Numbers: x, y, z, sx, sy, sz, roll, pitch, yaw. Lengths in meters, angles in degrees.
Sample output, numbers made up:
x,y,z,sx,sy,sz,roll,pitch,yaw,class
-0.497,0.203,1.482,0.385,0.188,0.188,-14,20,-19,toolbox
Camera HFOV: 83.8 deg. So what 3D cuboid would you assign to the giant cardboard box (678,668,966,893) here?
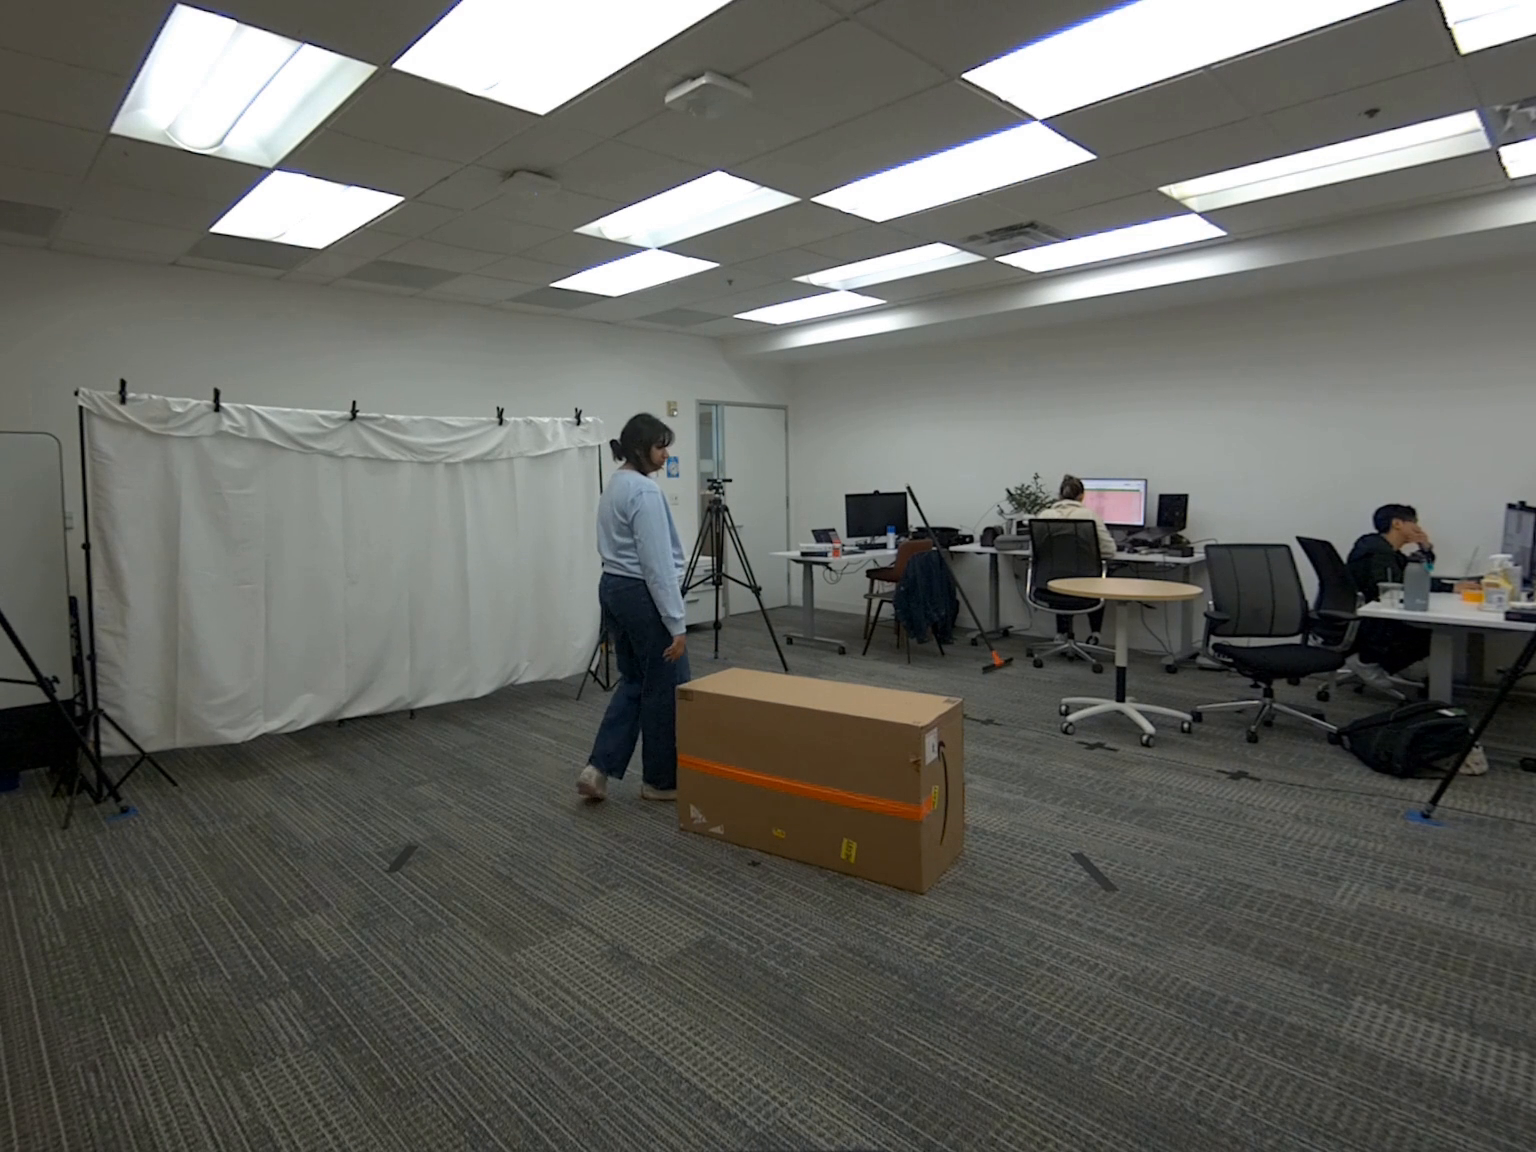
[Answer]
x,y,z,sx,sy,sz,roll,pitch,yaw,class
0.186,0.735,3.282,1.056,0.582,0.436,3,5,34,giant cardboard box
